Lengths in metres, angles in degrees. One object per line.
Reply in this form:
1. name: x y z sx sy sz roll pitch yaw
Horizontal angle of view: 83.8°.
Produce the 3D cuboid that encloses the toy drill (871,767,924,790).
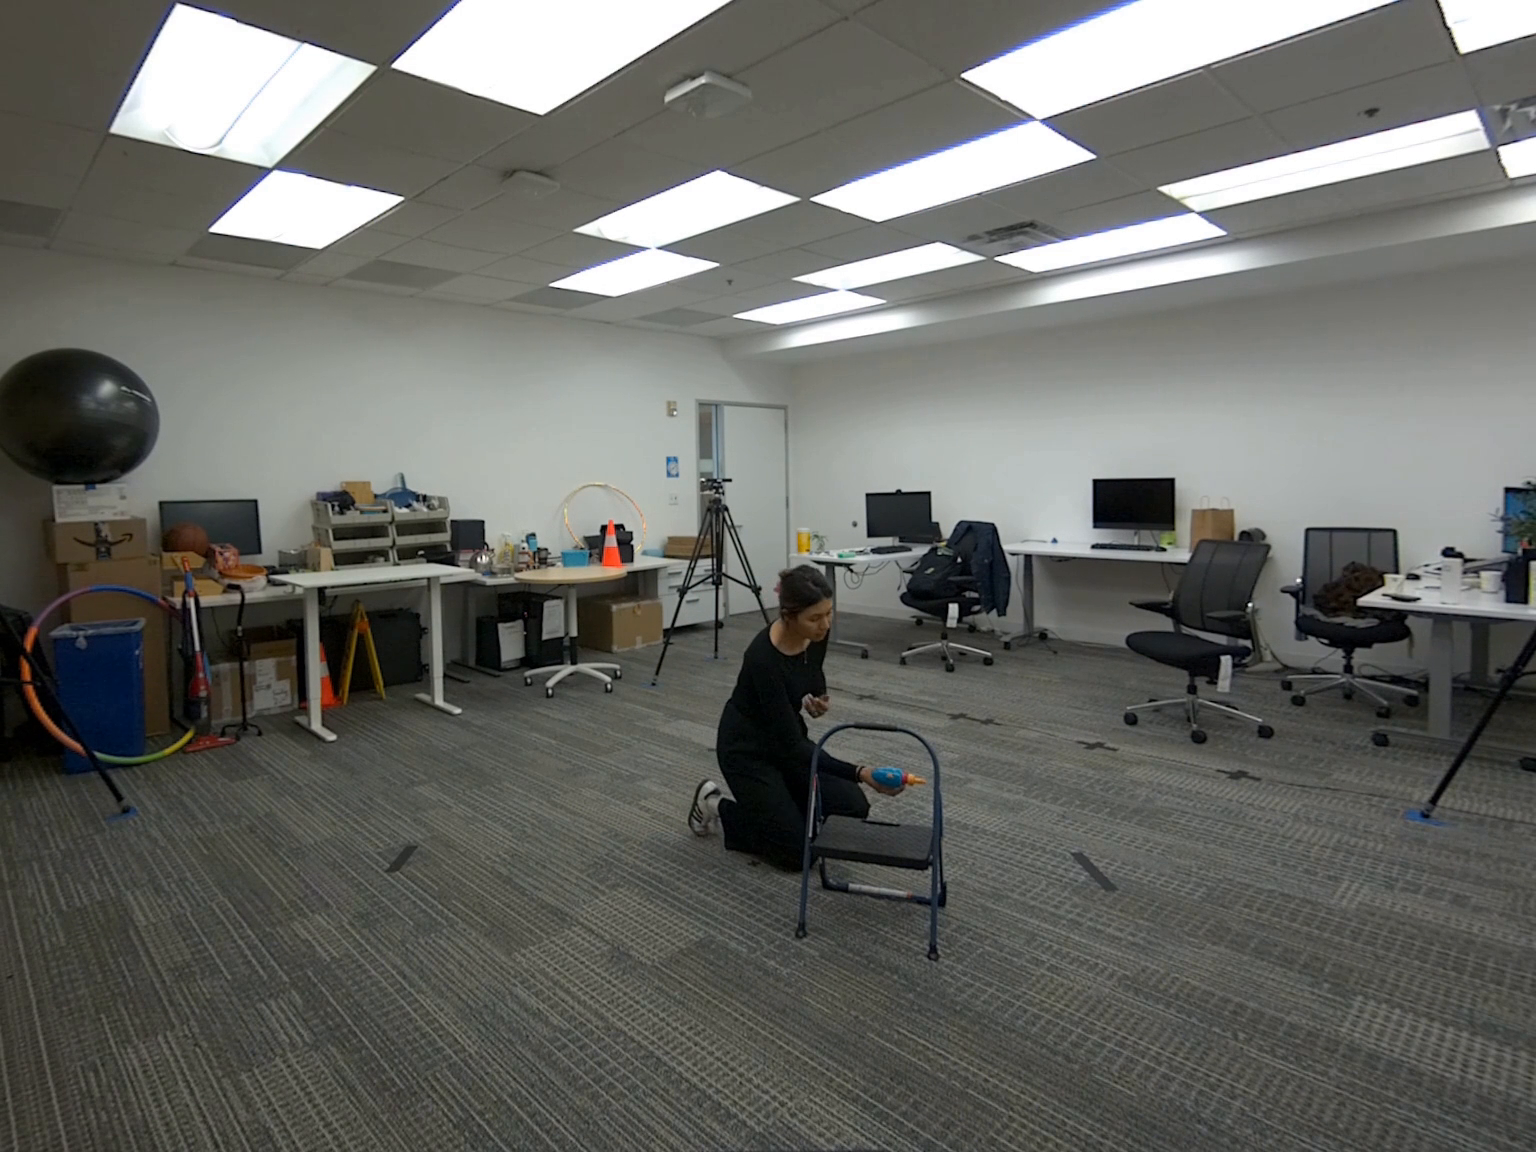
1. toy drill: 0.426 0.650 2.689 0.173 0.062 0.141 4 -23 22
